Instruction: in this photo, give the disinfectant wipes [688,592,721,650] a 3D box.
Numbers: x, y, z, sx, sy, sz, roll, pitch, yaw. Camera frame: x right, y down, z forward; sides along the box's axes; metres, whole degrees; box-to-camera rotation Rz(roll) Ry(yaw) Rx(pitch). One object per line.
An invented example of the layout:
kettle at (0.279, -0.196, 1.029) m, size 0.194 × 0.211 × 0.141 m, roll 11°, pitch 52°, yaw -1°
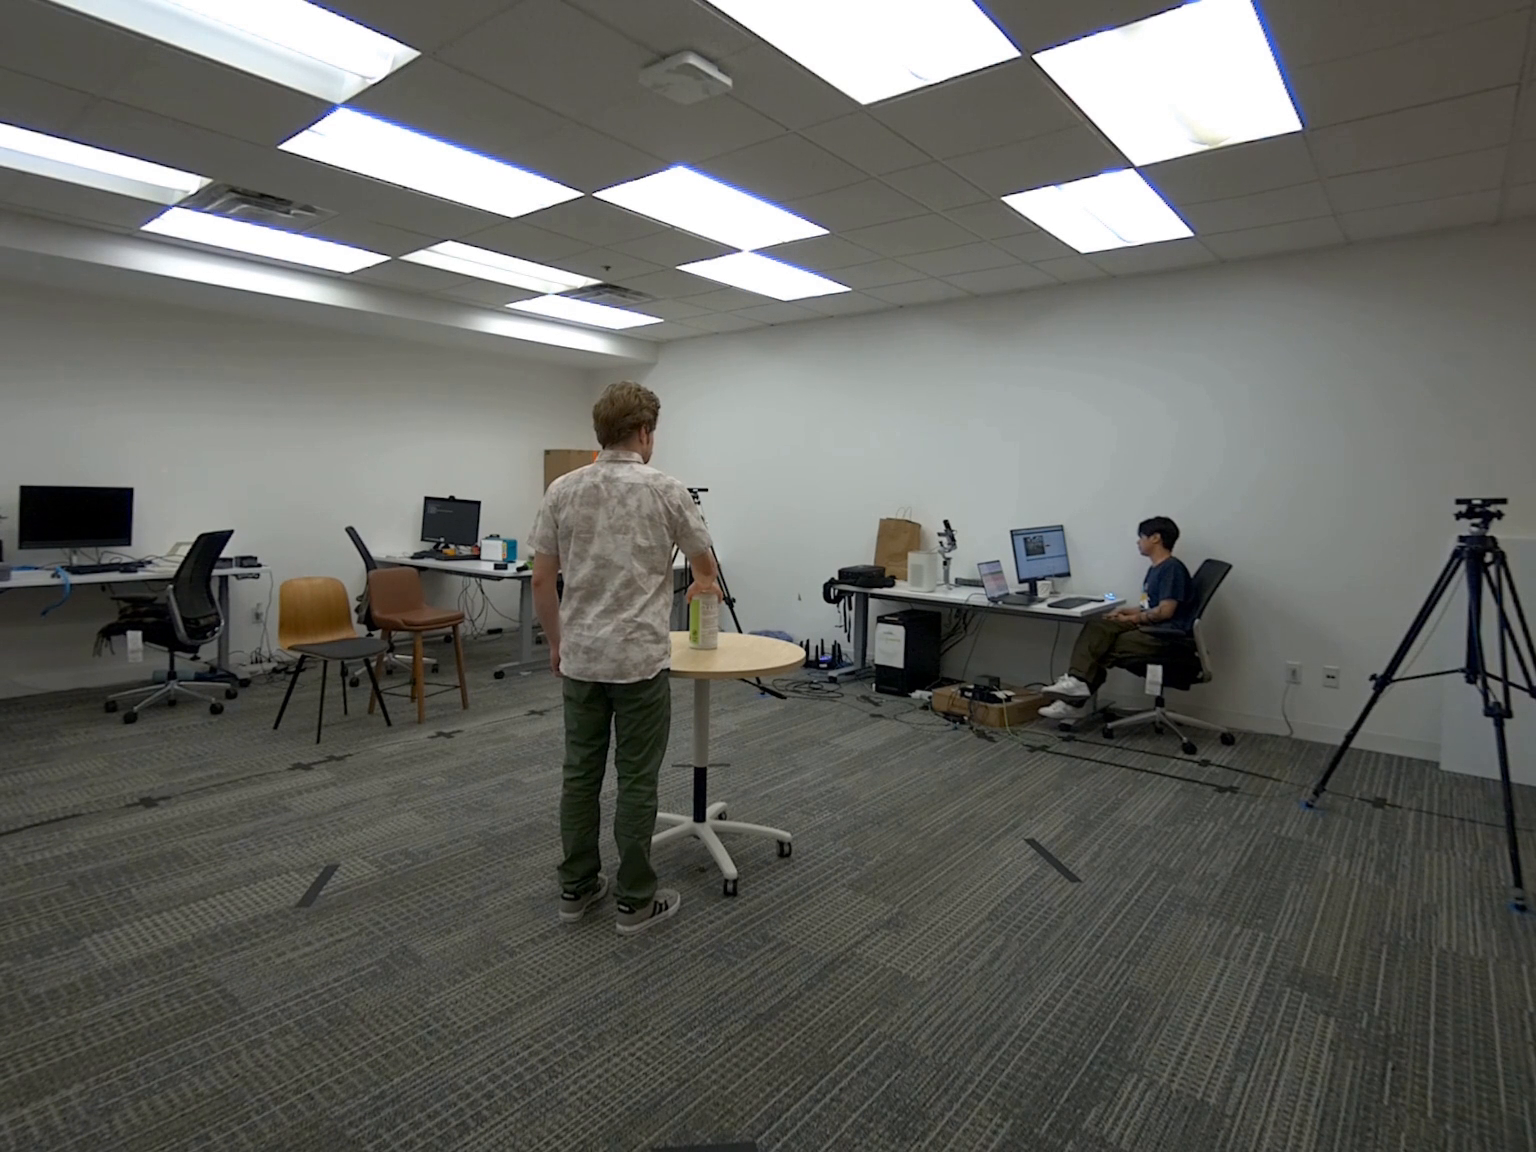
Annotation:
disinfectant wipes at (-0.248, 0.161, 3.205) m, size 0.118 × 0.217 × 0.118 m, roll 1°, pitch 2°, yaw -2°
